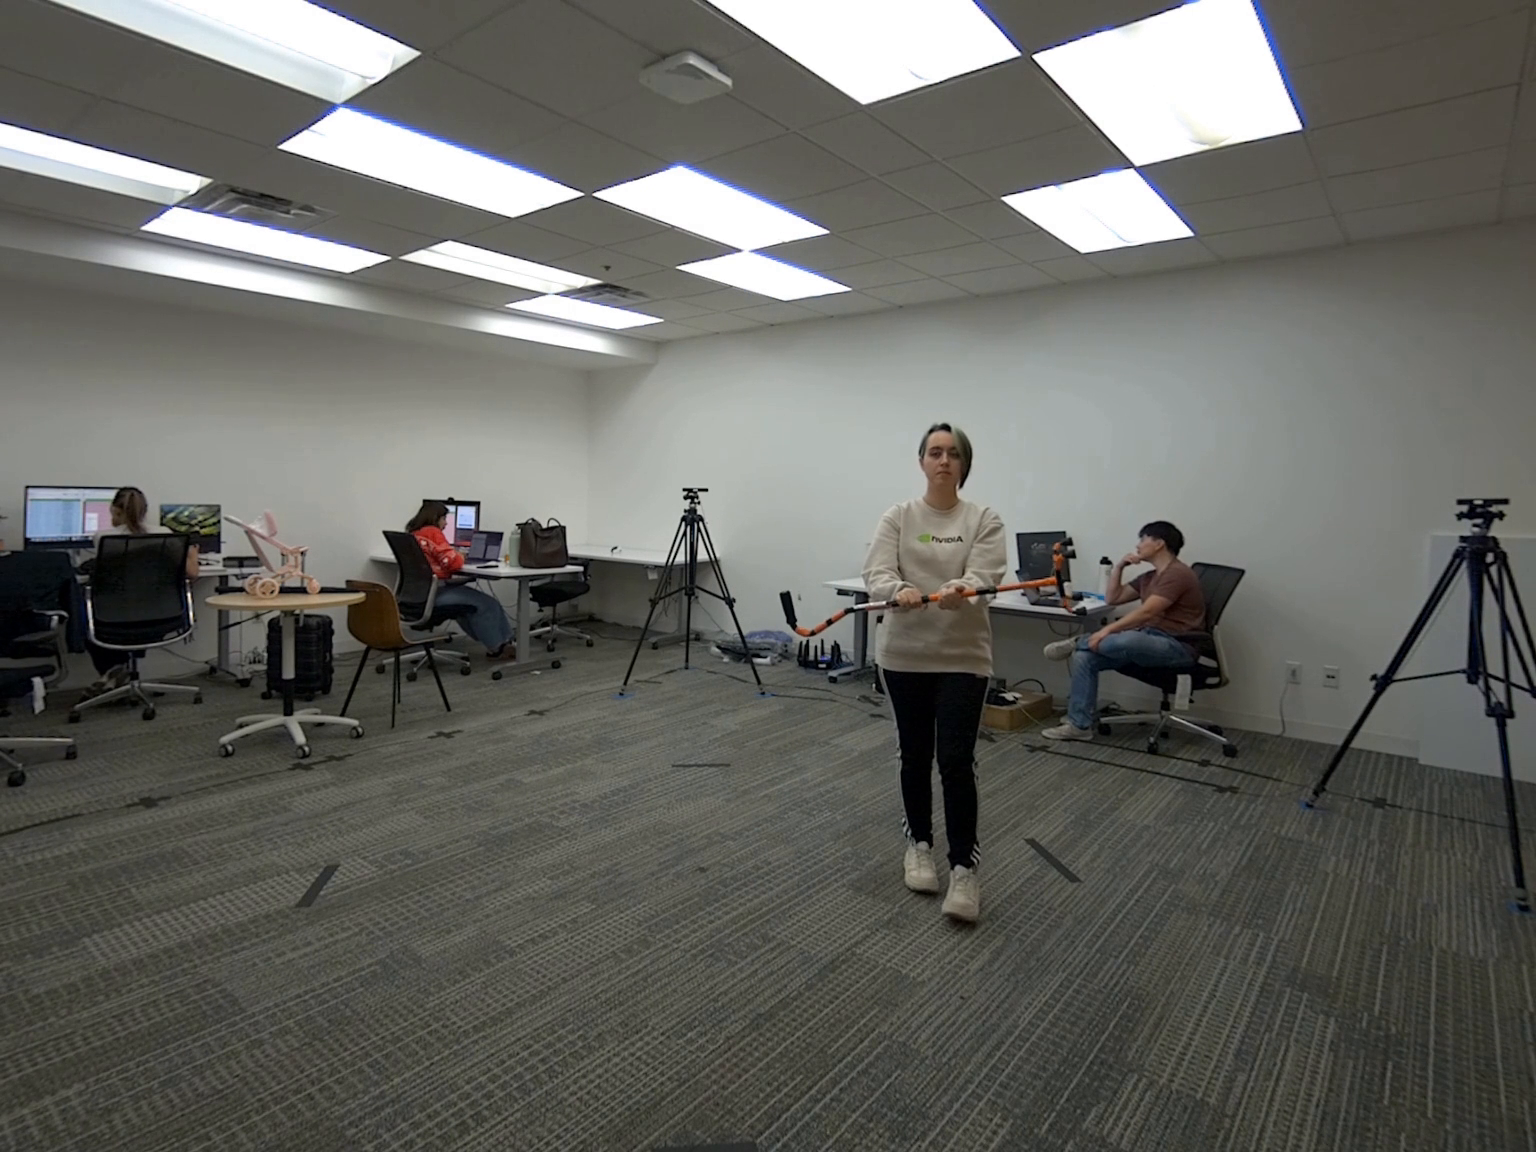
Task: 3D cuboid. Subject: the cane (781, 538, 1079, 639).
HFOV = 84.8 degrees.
[{"bbox_3d":[0.481,0.058,2.662,0.923,0.203,0.151,-9,15,19],"label":"cane"}]
